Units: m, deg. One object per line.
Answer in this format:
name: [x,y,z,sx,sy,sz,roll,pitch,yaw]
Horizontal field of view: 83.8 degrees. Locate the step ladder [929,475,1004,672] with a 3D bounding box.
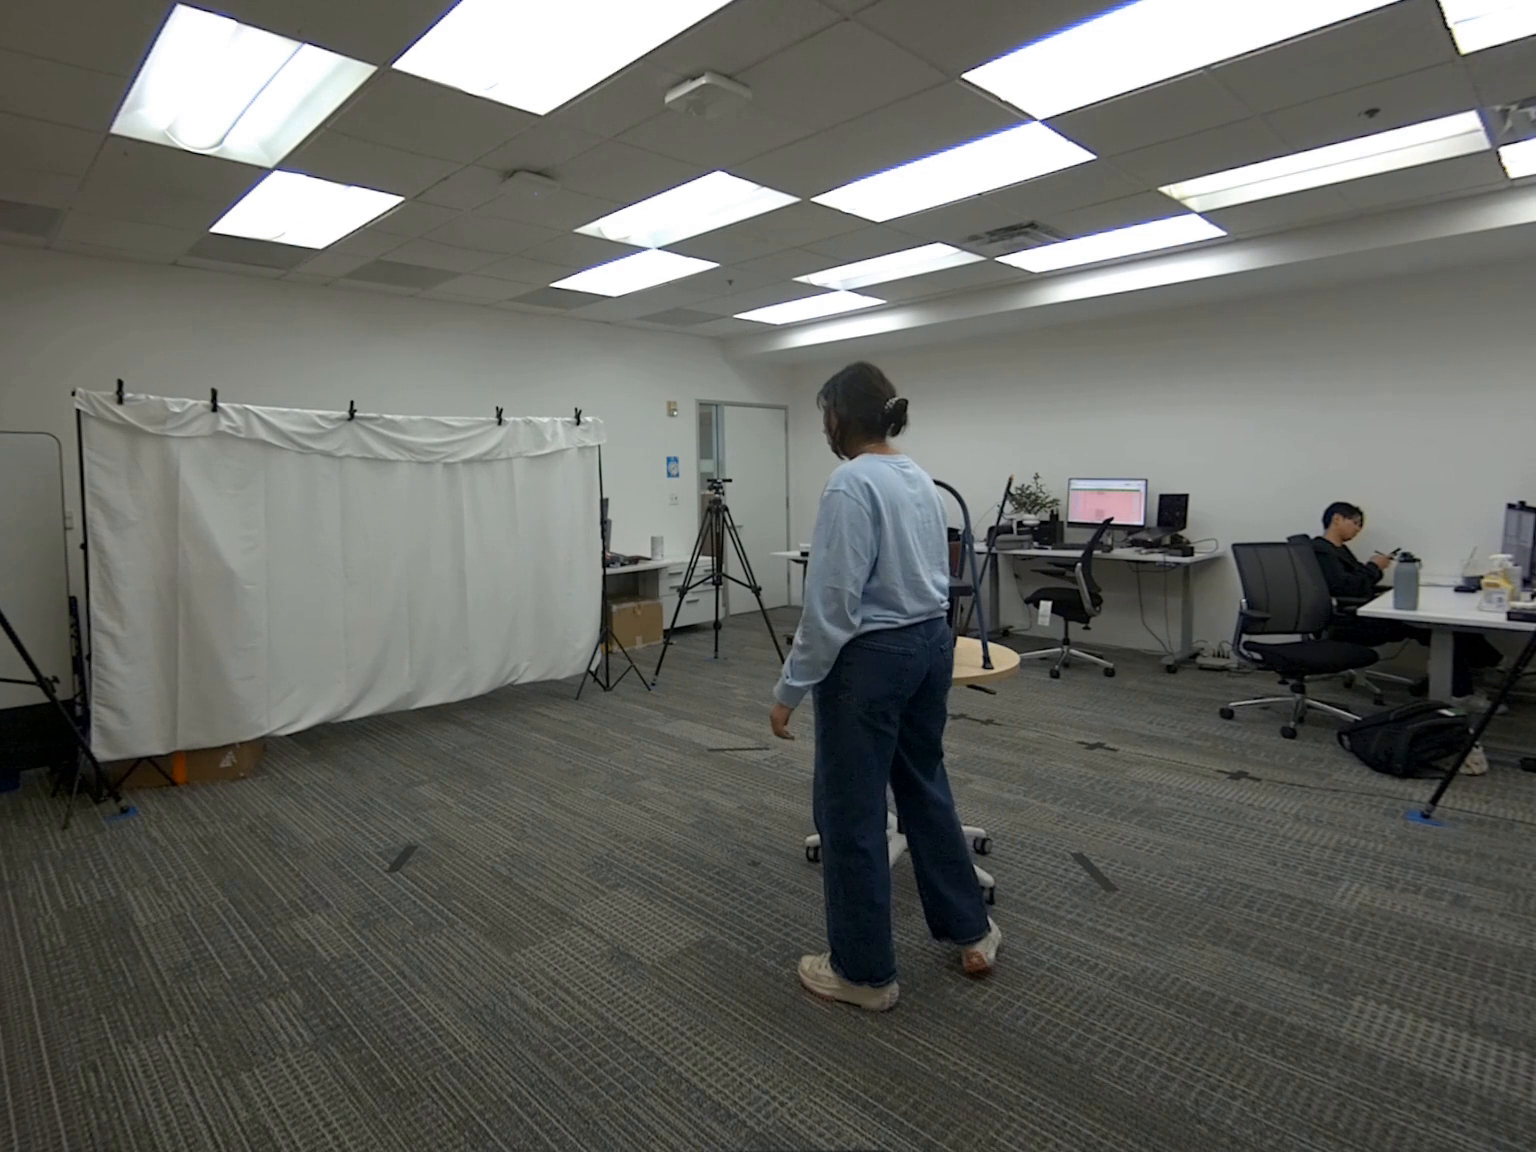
step ladder: [0.492,-0.024,2.841,0.428,0.603,0.353,-1,6,-7]
